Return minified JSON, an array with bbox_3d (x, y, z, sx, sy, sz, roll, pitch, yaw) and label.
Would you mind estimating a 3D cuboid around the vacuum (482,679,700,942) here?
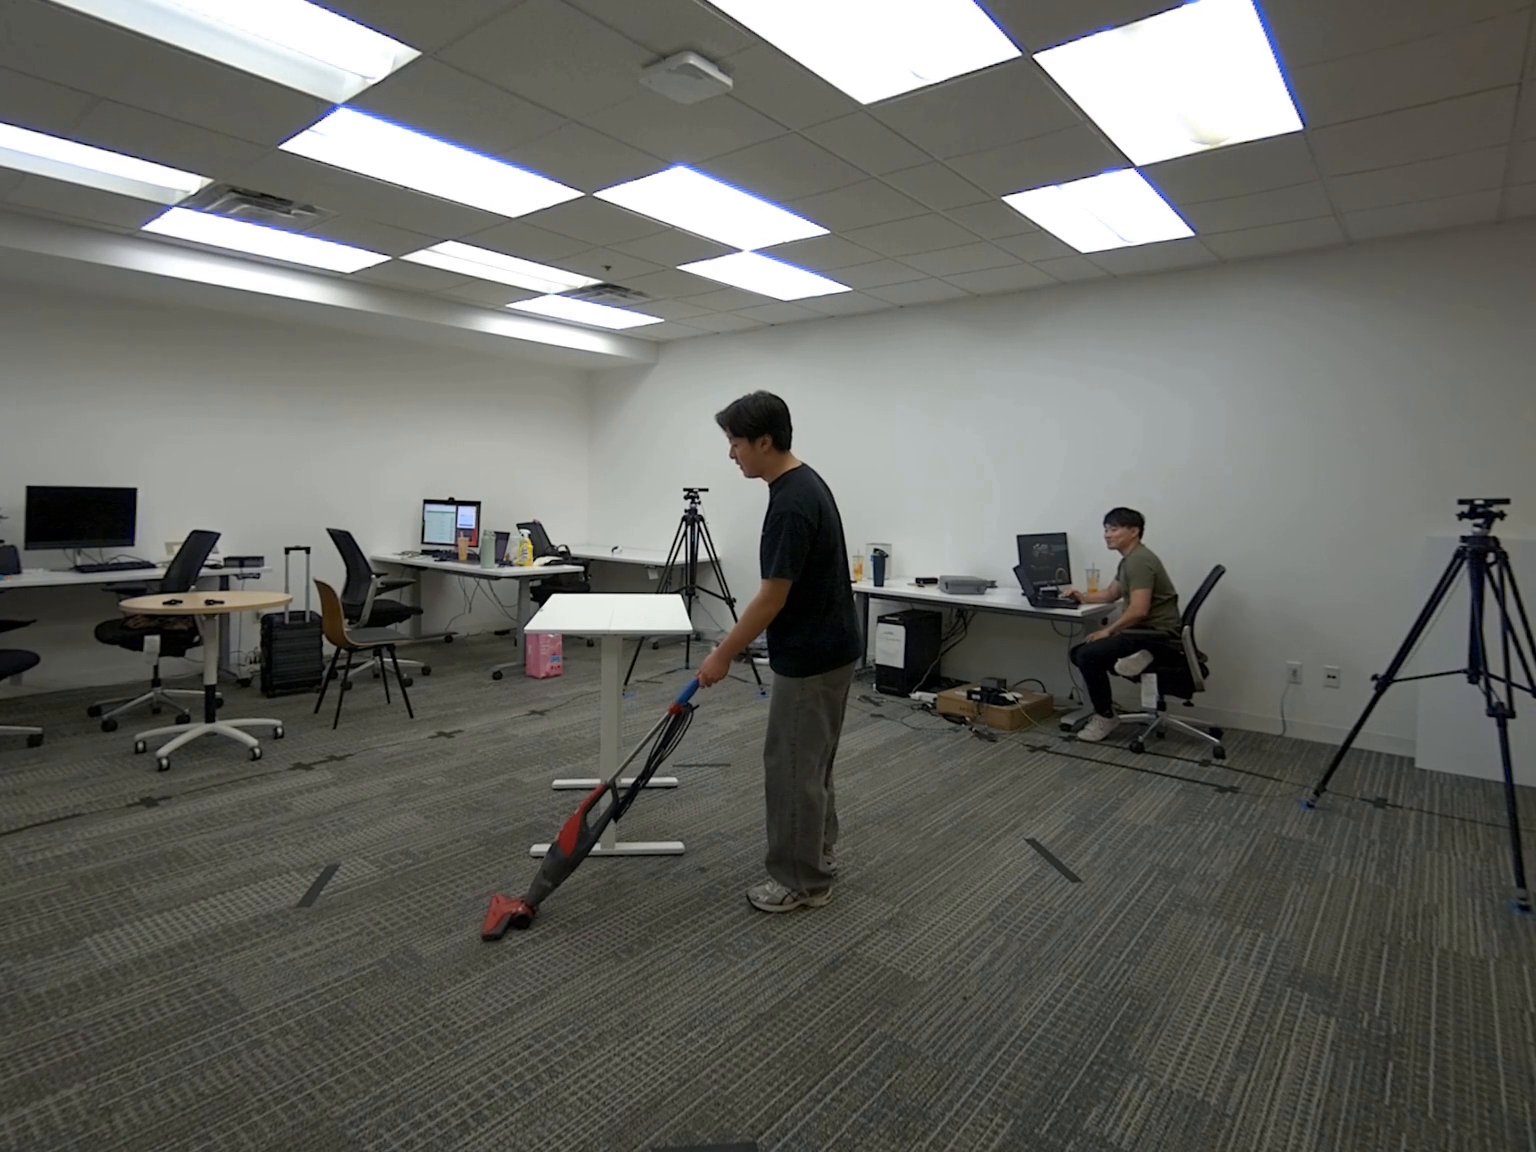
[{"bbox_3d":[-0.495,0.696,2.744,0.142,1.049,0.255,42,-3,-10],"label":"vacuum"}]
